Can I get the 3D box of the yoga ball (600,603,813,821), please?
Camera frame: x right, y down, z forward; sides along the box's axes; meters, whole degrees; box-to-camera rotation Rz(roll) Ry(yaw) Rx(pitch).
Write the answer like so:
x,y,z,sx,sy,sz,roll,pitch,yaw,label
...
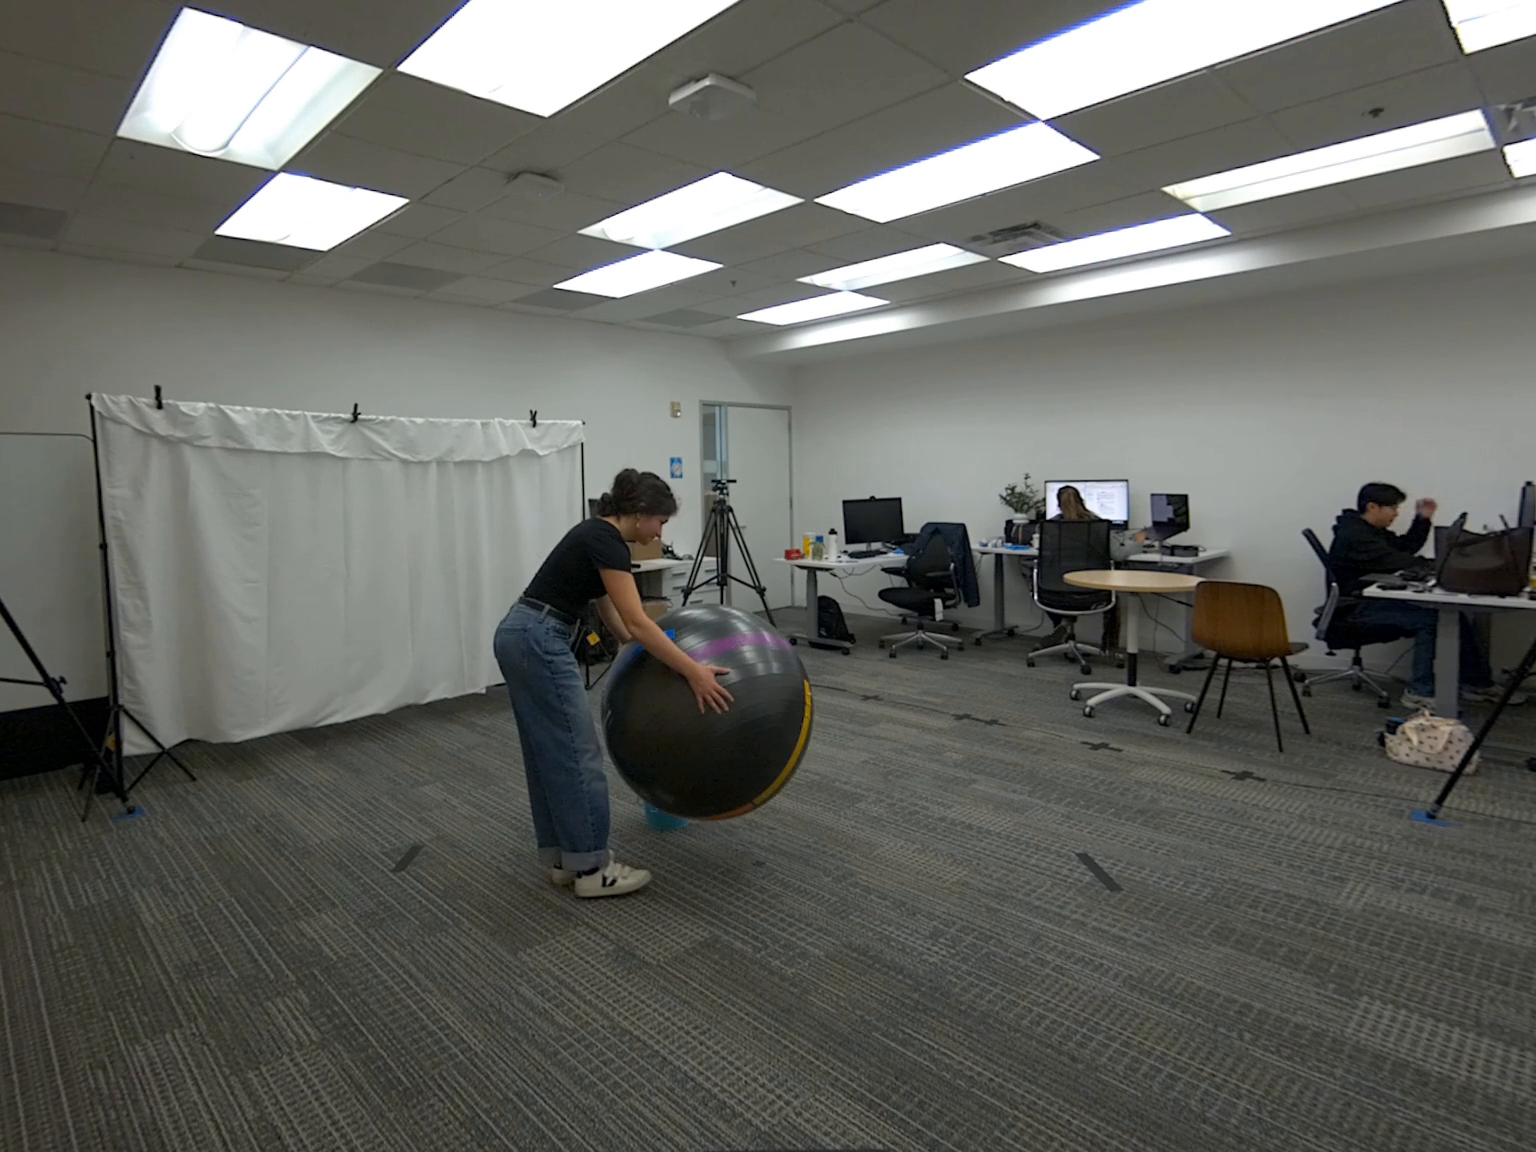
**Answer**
x,y,z,sx,sy,sz,roll,pitch,yaw,label
-0.226,0.488,3.071,0.757,0.755,0.762,-1,5,-2,yoga ball
